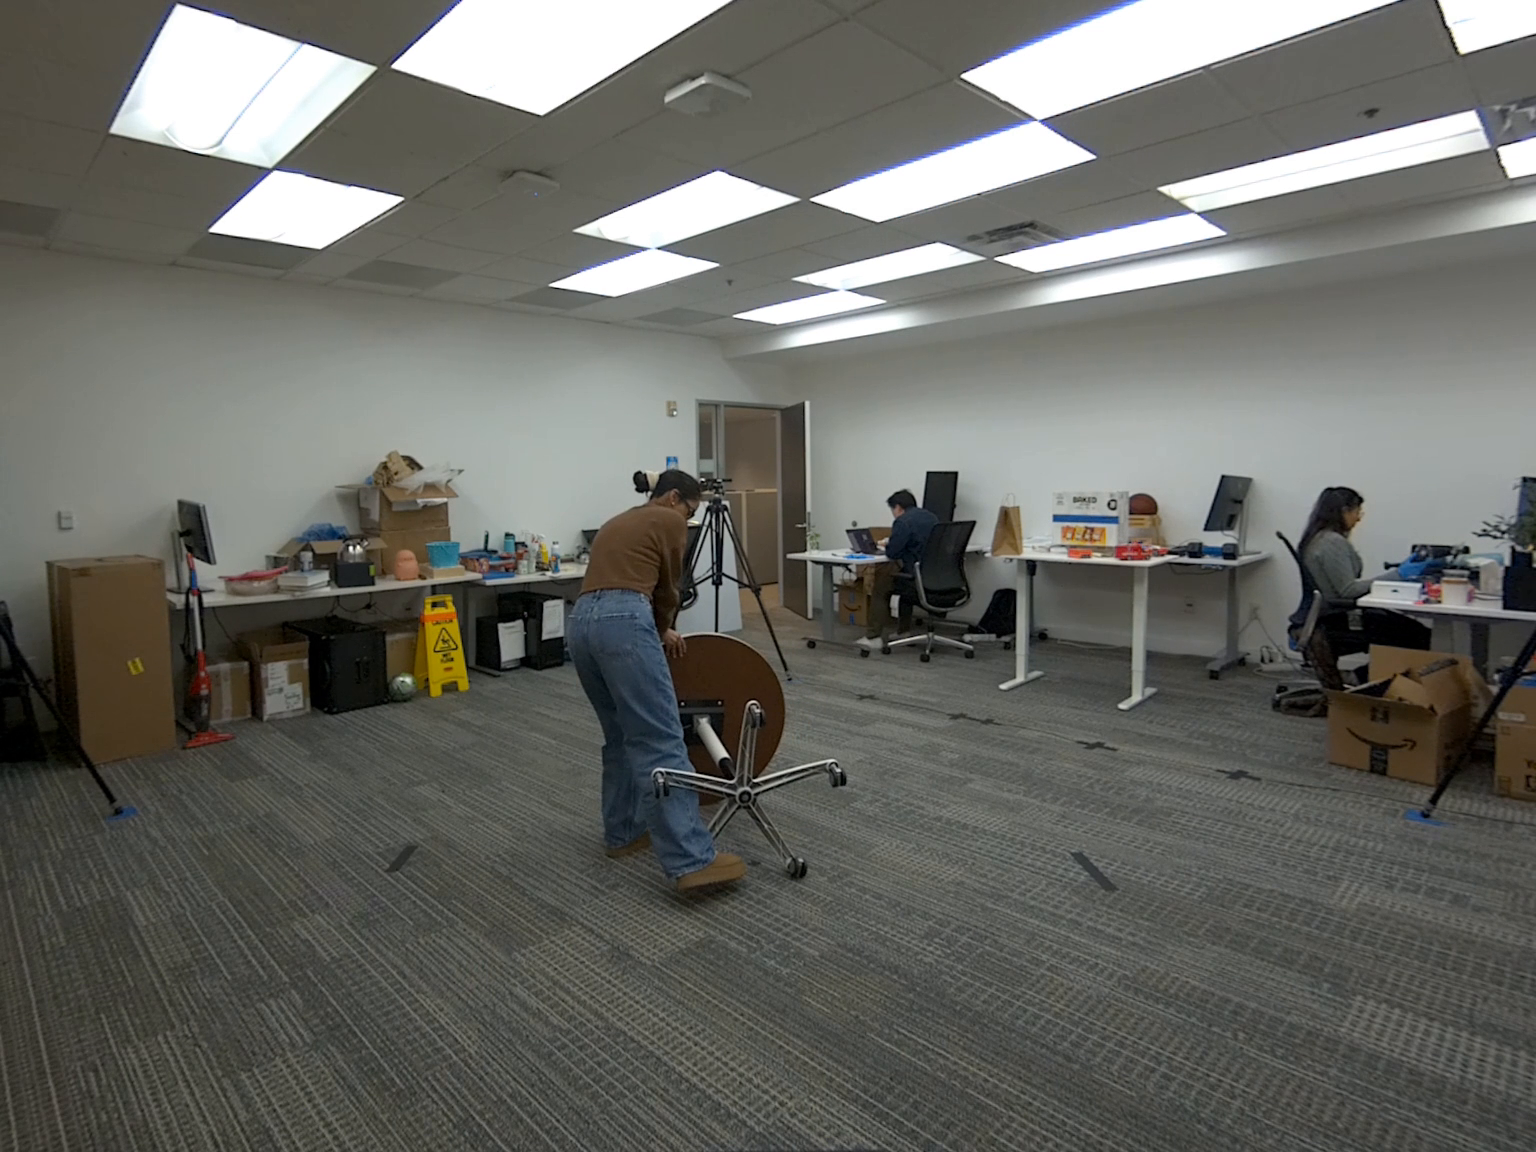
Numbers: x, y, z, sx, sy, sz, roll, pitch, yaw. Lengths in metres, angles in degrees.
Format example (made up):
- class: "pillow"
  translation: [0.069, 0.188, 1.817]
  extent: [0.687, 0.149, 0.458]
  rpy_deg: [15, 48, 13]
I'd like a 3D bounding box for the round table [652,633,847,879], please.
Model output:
- class: "round table"
  translation: [-0.178, 0.703, 3.246]
  extent: [0.753, 0.757, 0.813]
  rpy_deg: [-2, 12, -16]
